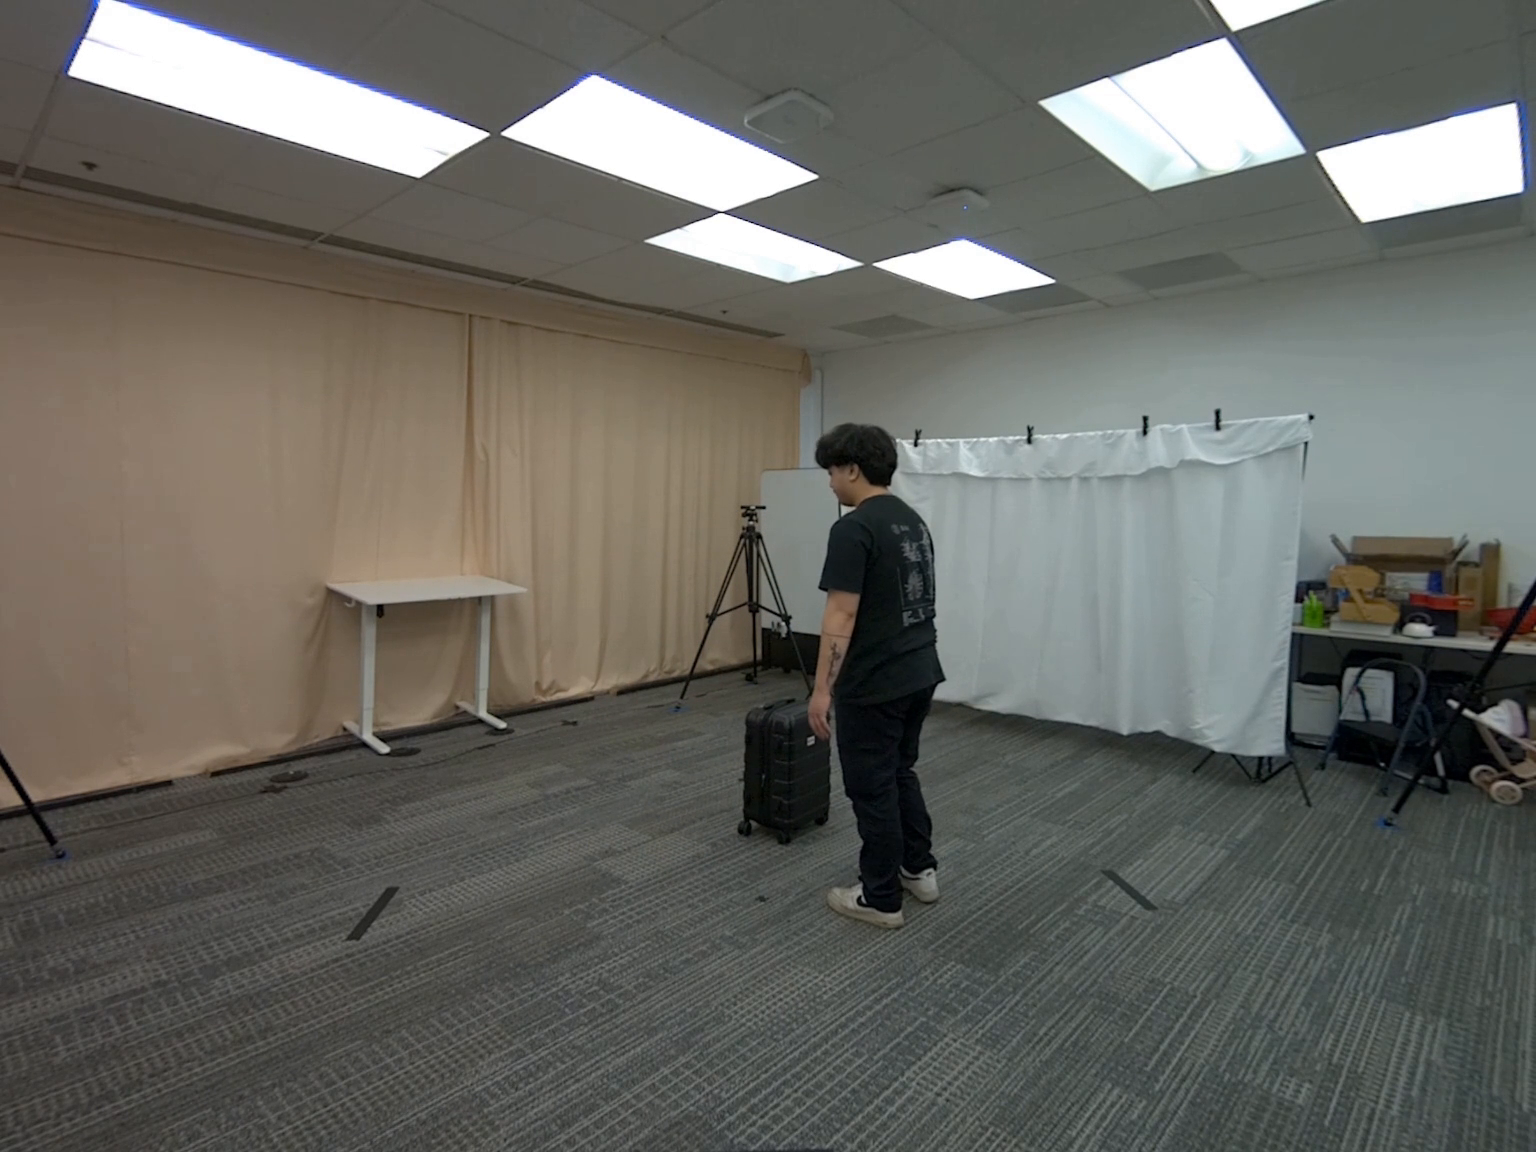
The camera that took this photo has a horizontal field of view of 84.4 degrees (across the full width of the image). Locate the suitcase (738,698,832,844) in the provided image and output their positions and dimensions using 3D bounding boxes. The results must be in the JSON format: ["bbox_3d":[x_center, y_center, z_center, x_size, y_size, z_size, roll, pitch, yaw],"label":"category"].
[{"bbox_3d":[0.084,0.814,3.623,0.256,0.548,0.364,5,4,37],"label":"suitcase"}]
